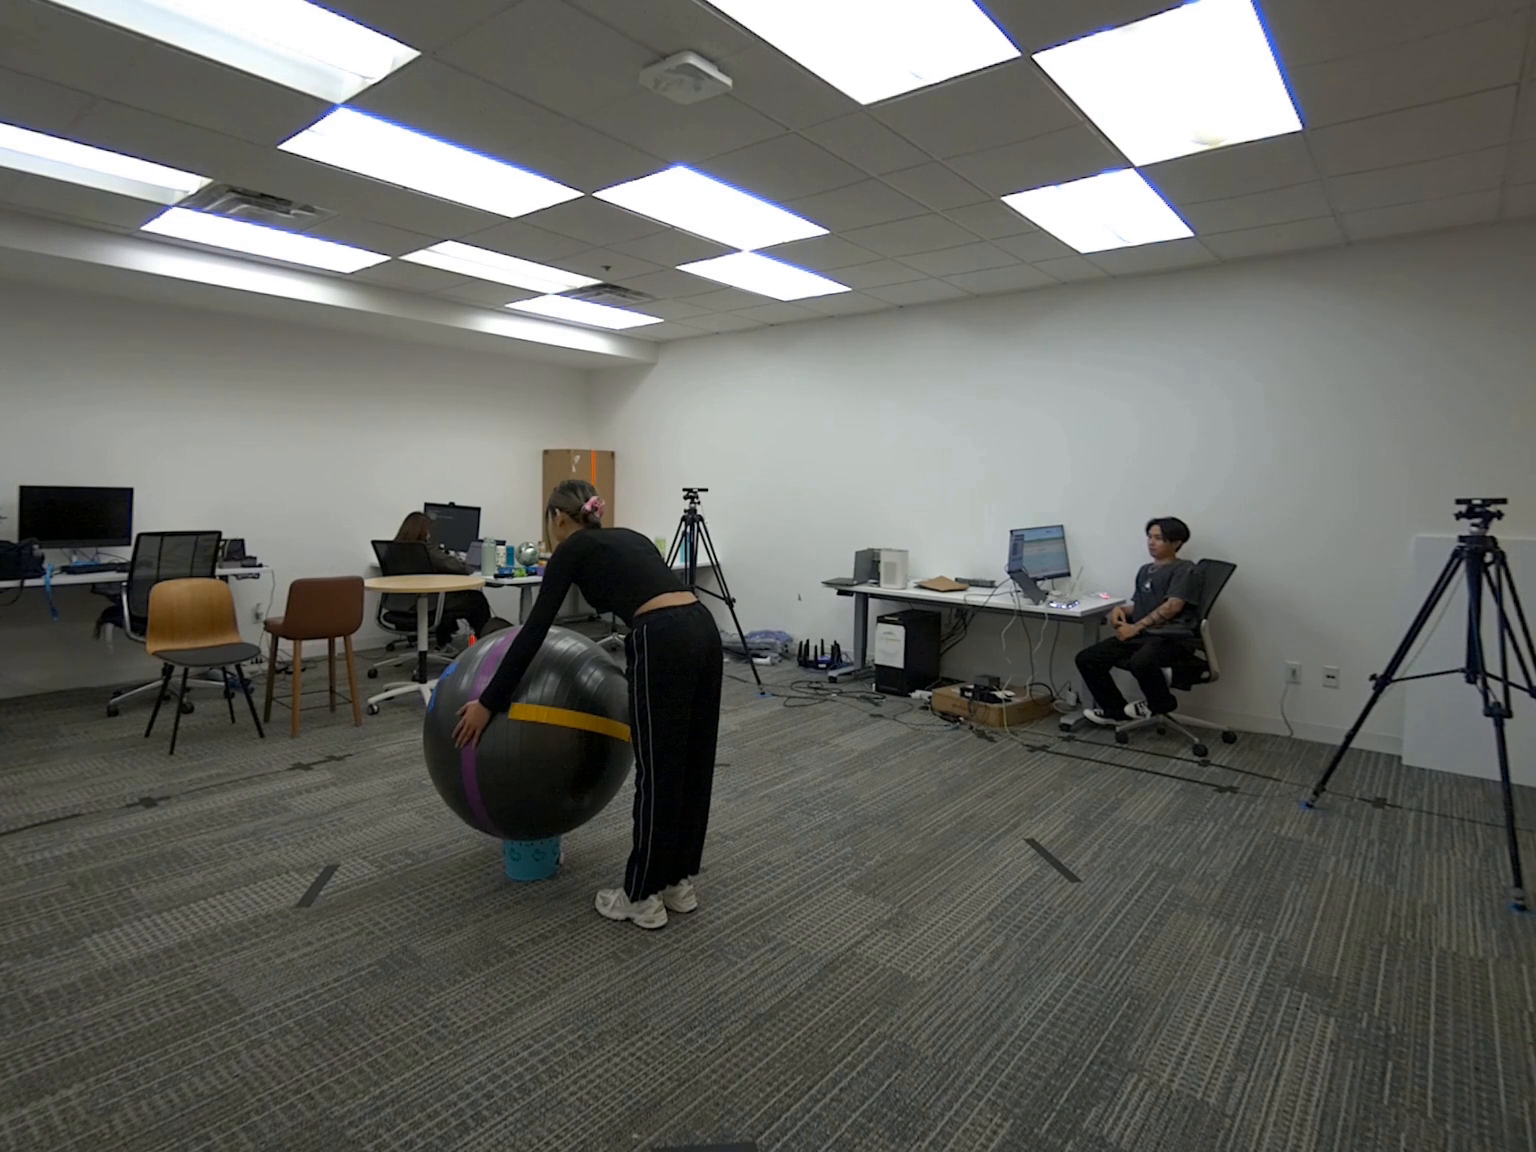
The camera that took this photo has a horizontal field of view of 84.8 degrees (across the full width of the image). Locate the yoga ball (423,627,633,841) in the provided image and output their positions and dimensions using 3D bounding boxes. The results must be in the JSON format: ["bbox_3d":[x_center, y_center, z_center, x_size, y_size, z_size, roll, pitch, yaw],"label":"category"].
[{"bbox_3d":[-0.855,0.557,3.061,0.757,0.755,0.762,1,4,-2],"label":"yoga ball"}]
